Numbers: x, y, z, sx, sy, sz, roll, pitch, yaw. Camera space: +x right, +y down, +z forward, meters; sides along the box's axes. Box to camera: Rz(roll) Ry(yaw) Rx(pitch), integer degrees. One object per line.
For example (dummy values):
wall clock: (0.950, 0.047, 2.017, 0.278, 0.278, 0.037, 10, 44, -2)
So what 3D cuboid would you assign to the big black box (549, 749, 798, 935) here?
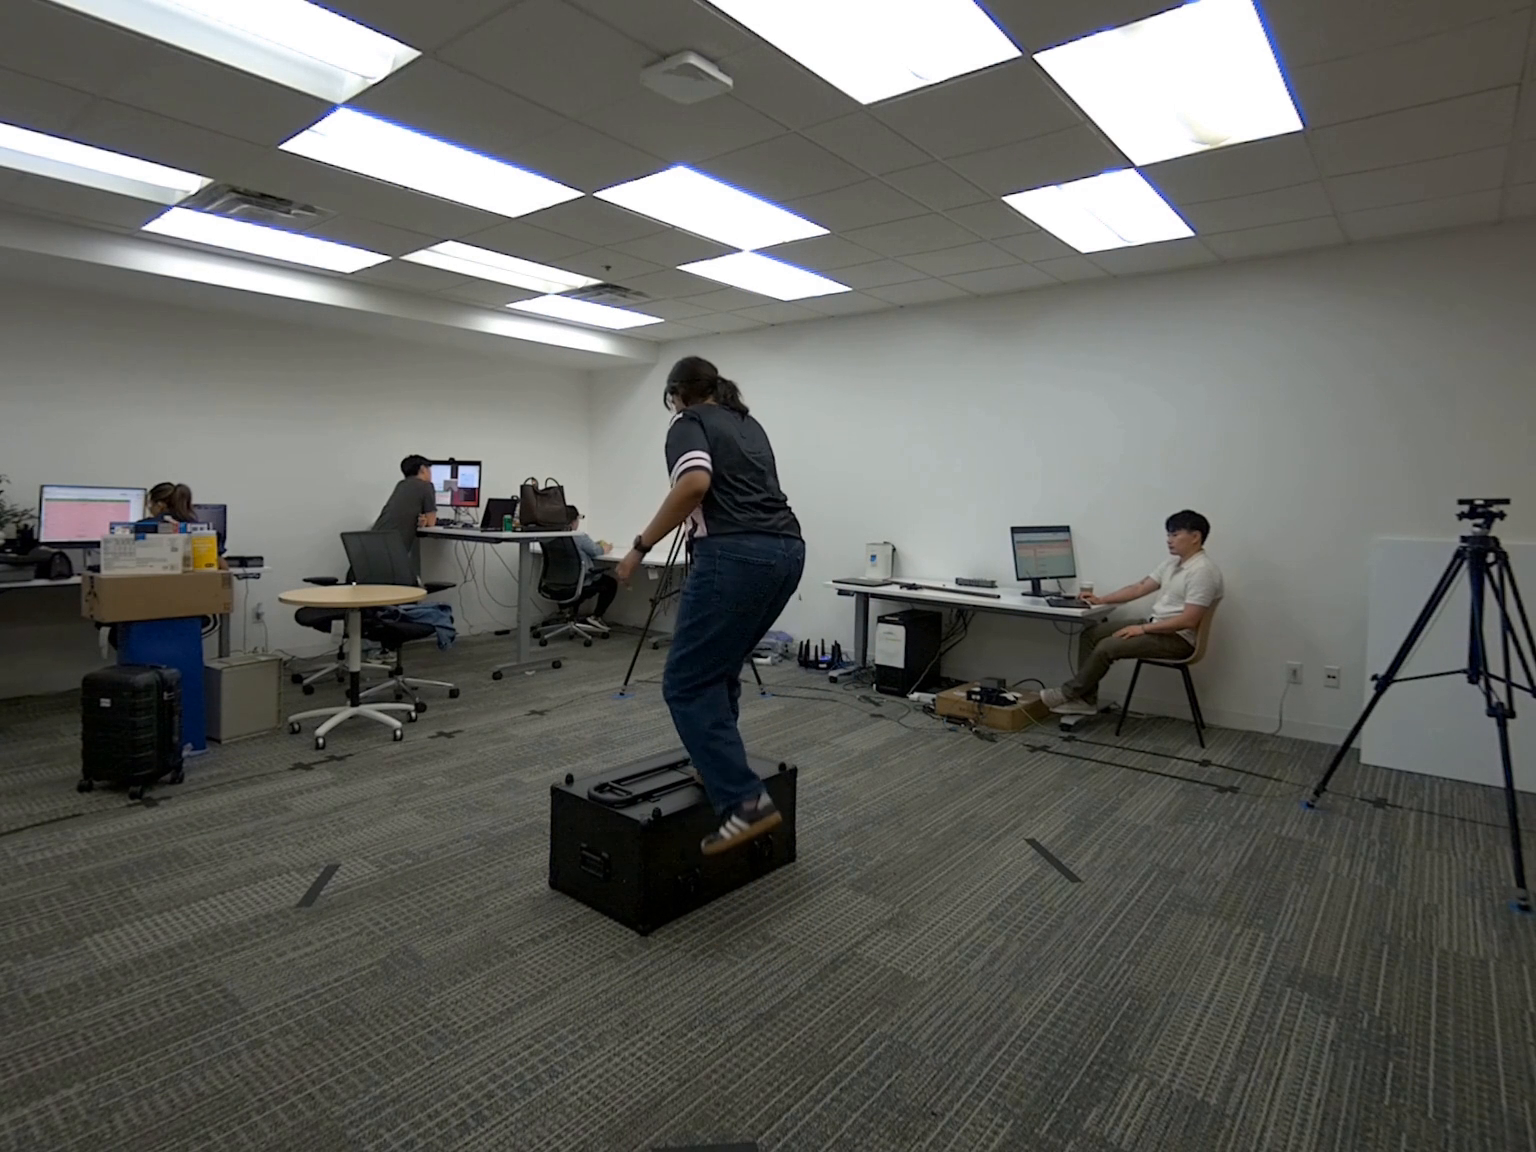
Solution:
big black box: (-0.316, 0.885, 3.093, 0.541, 0.384, 0.843, 3, 5, 40)
